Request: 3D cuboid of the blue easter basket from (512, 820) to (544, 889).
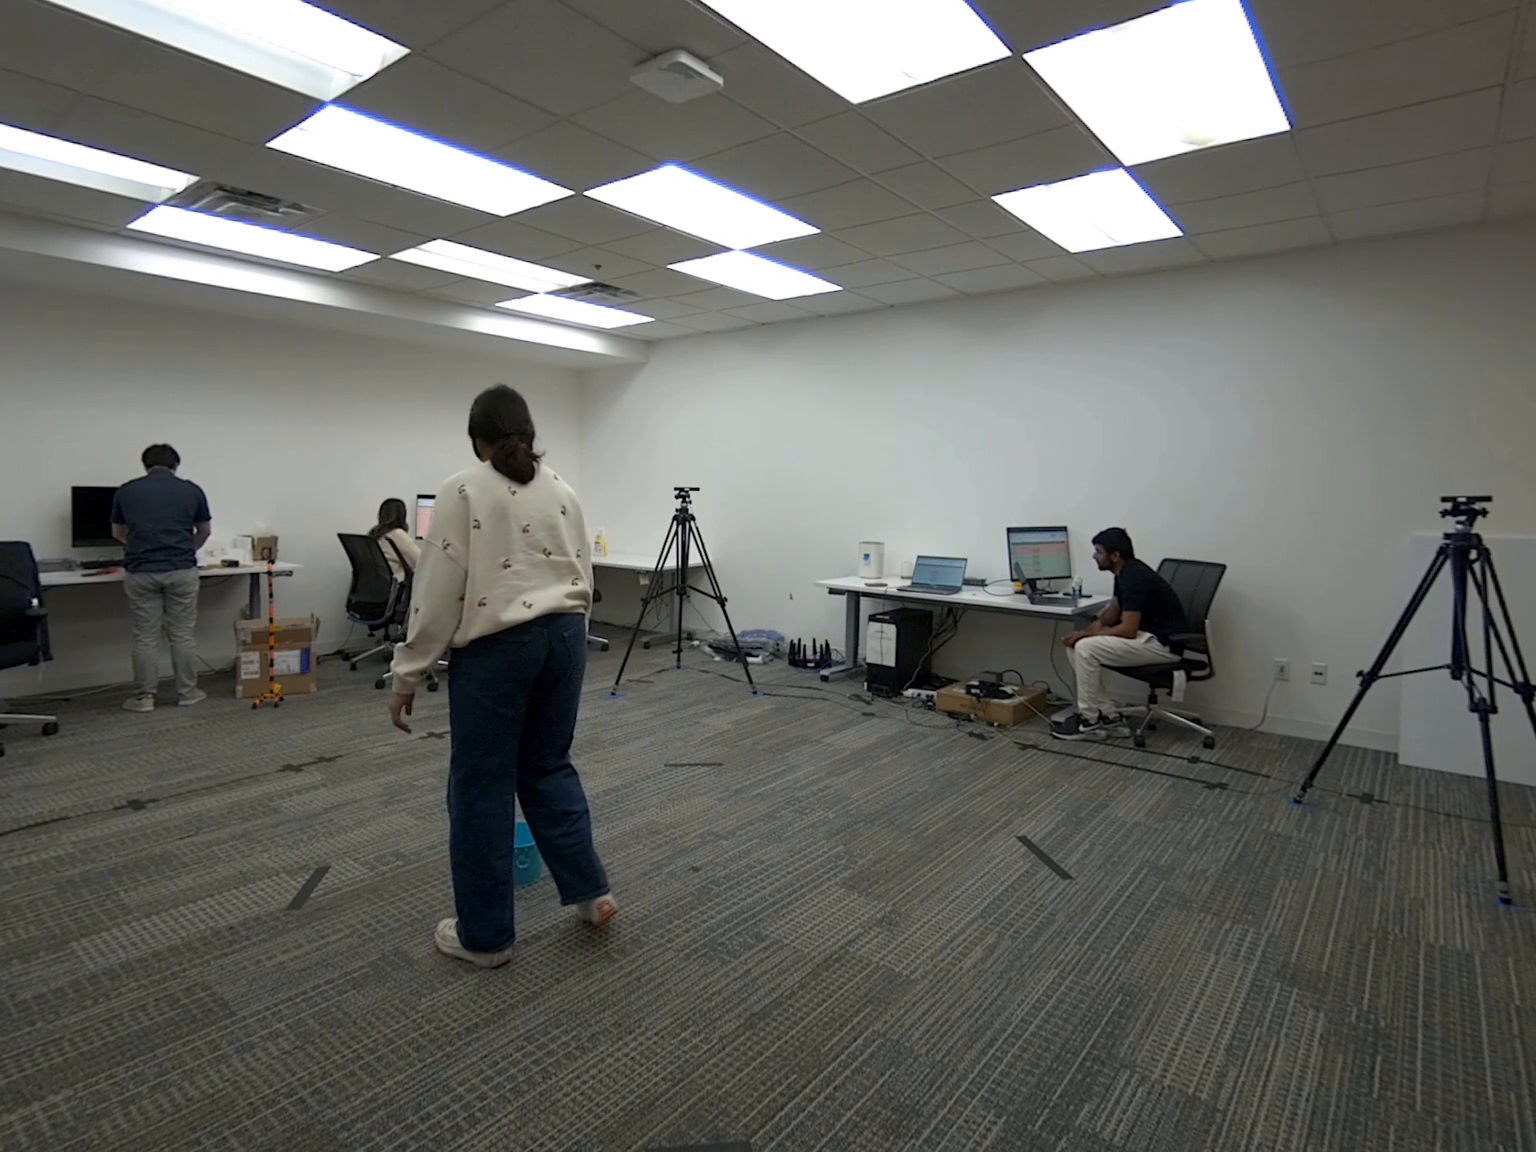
[{"bbox_3d":[-0.897,0.981,3.023,0.243,0.155,0.245,1,5,-2],"label":"blue easter basket"}]
